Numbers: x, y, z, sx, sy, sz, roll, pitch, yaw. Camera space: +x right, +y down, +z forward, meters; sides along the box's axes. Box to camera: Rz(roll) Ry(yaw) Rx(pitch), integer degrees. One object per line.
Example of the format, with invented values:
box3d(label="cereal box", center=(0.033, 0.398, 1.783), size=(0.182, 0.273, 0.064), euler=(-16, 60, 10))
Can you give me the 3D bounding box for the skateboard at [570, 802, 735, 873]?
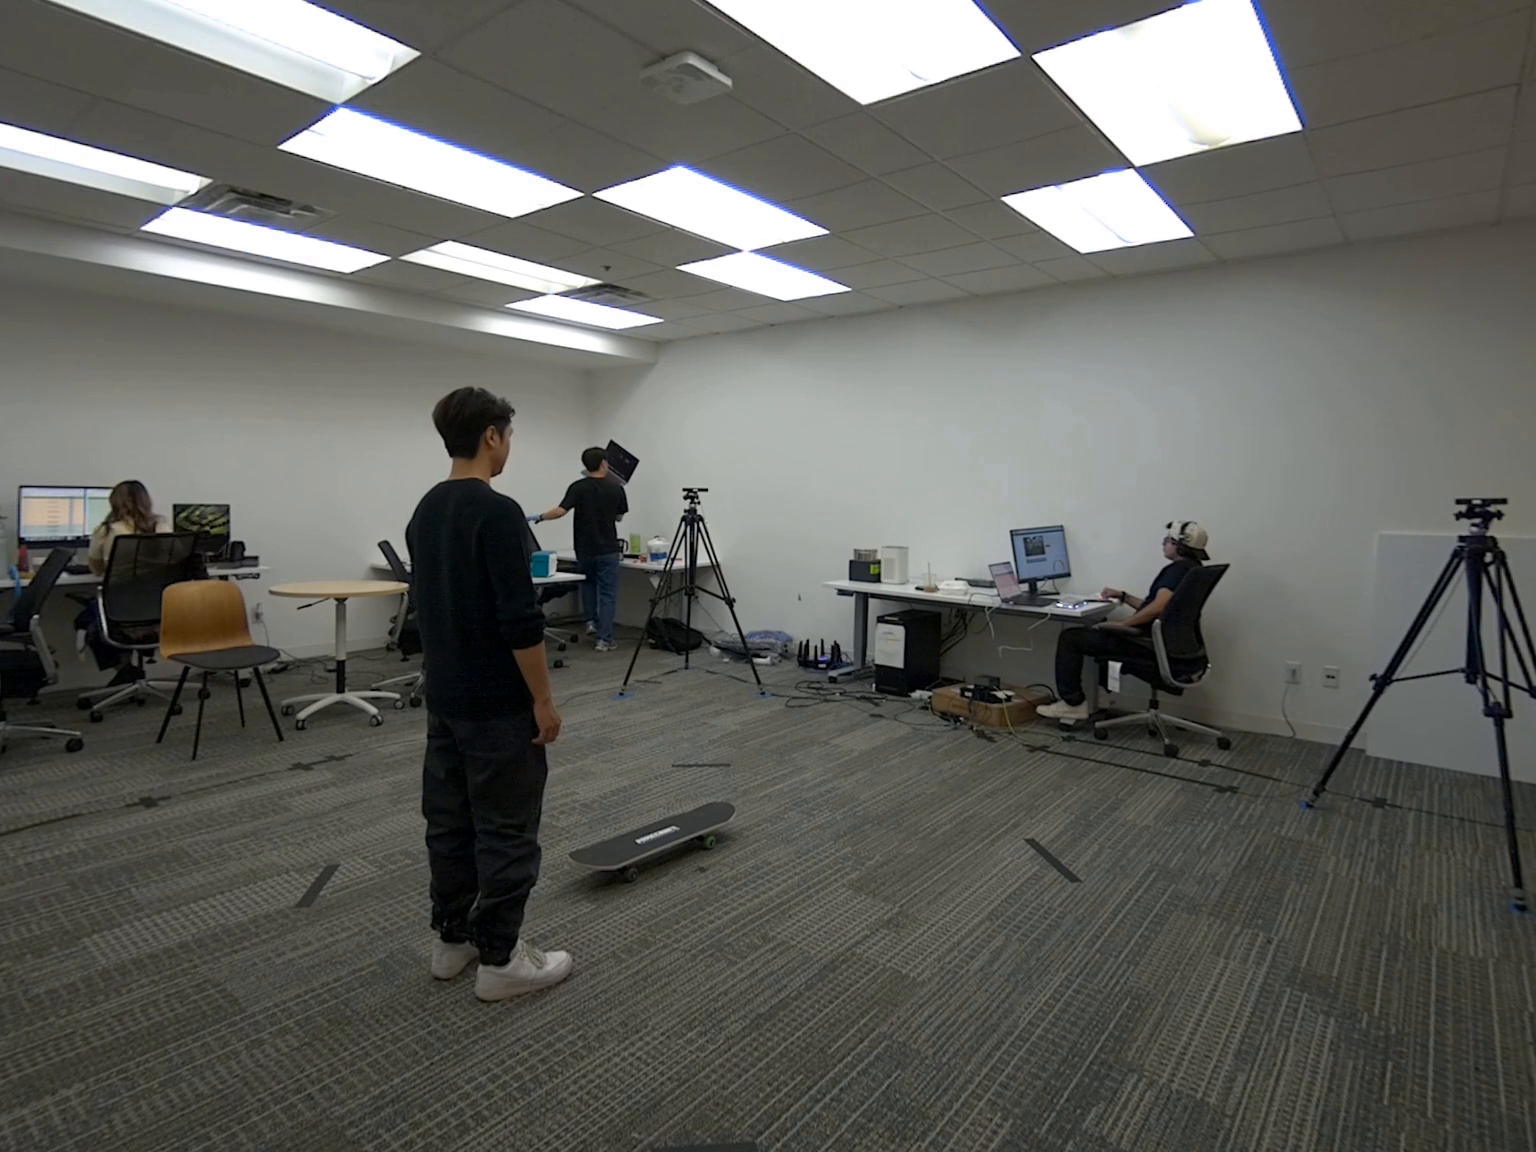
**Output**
box3d(label="skateboard", center=(-0.419, 1.002, 3.199), size=(0.200, 0.110, 0.762), euler=(5, 7, 42))
